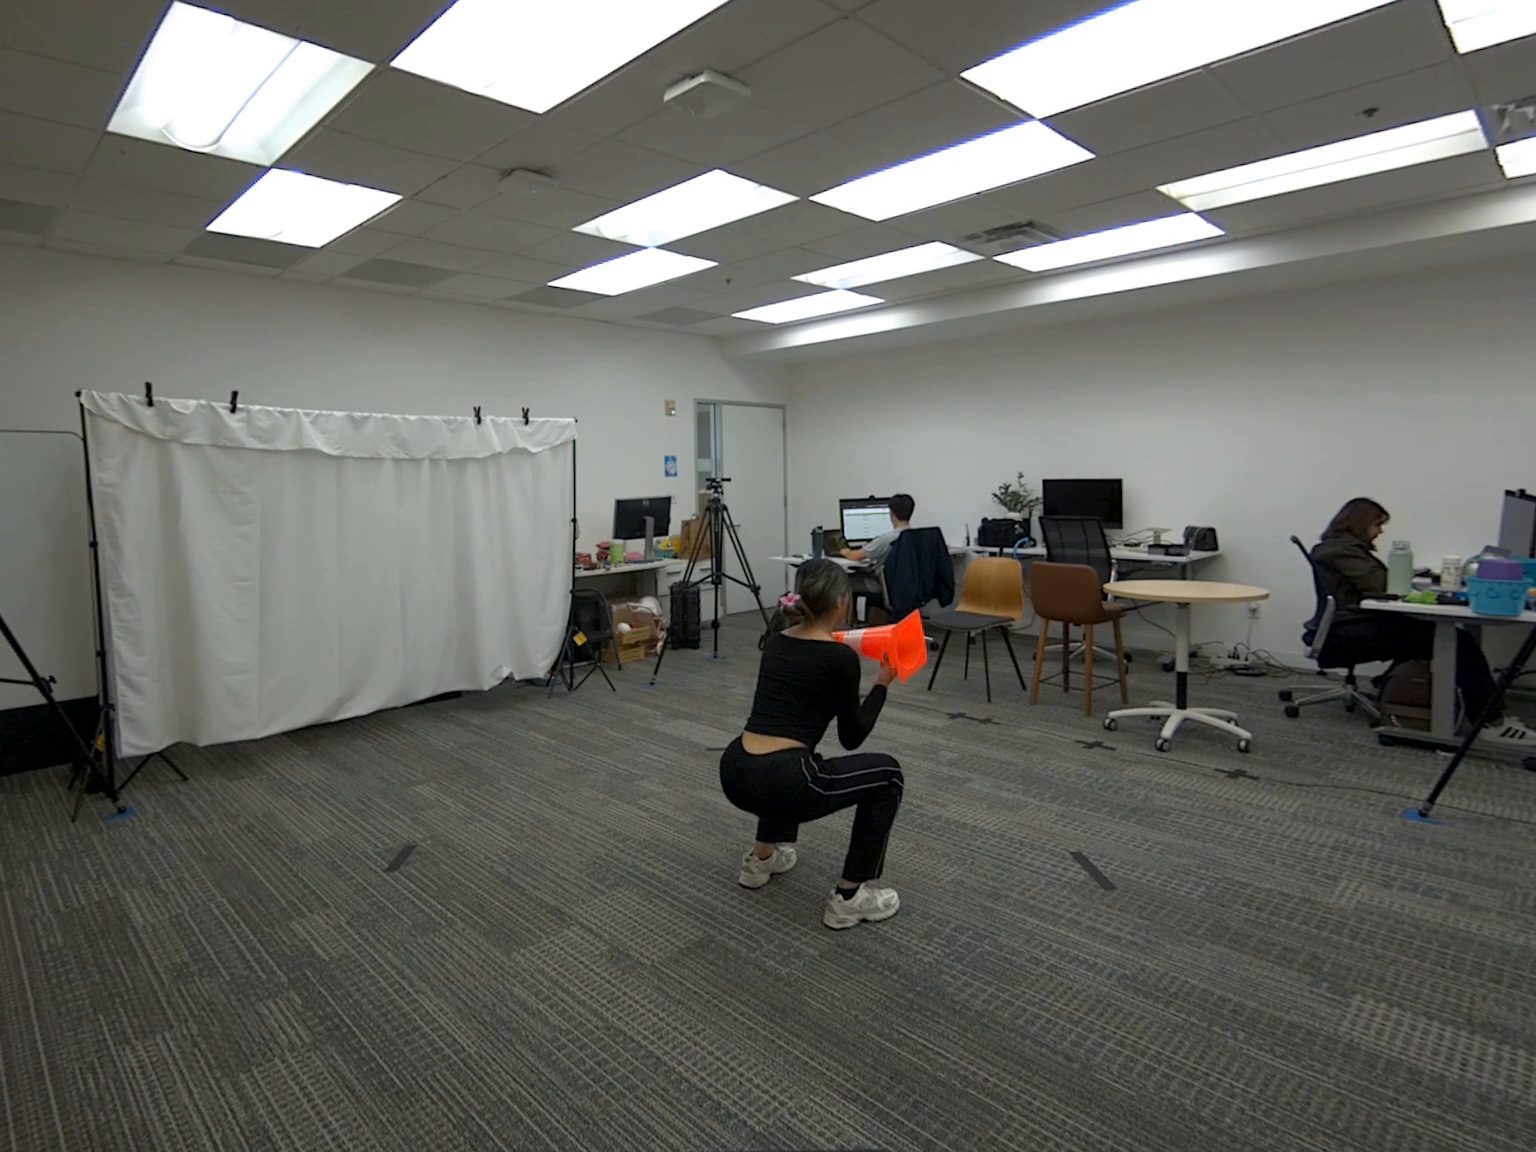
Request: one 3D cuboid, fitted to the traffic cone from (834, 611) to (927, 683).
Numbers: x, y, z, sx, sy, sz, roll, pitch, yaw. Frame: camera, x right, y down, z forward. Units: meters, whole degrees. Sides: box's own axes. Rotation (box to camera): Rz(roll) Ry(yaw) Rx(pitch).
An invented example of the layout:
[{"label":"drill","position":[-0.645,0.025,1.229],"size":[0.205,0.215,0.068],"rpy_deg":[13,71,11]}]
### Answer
[{"label":"traffic cone","position":[0.351,0.233,3.073],"size":[0.395,0.202,0.200],"rpy_deg":[1,20,42]}]
